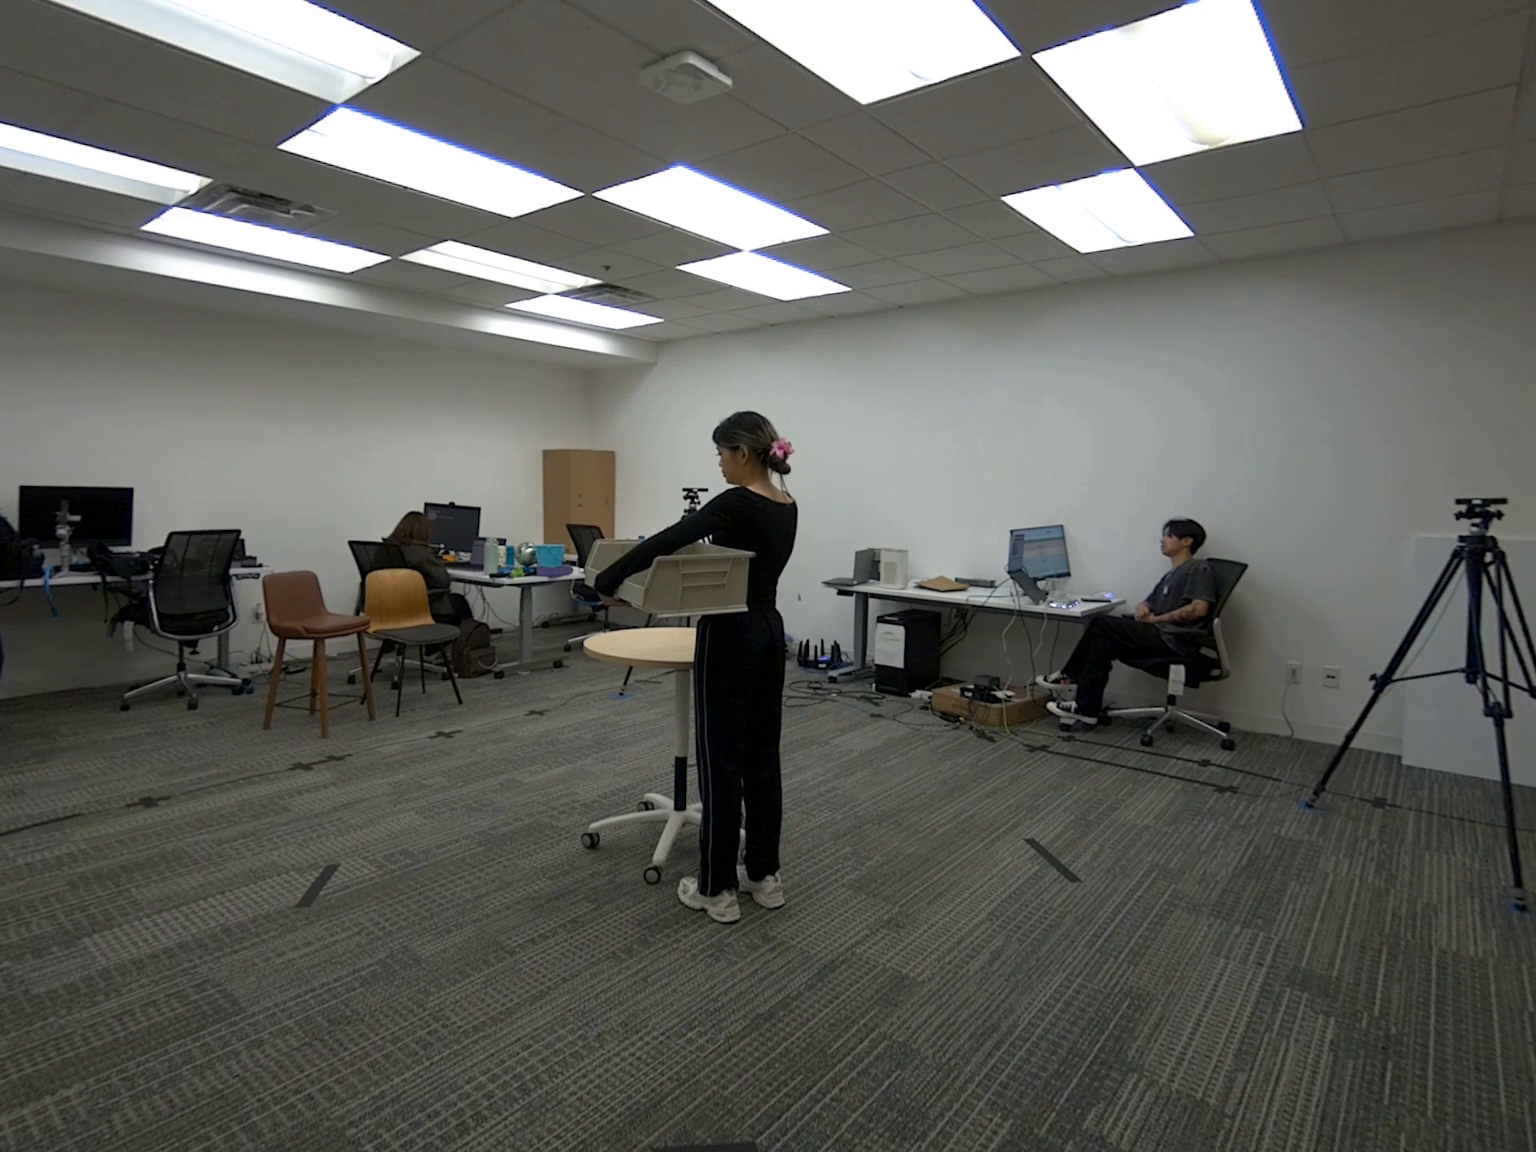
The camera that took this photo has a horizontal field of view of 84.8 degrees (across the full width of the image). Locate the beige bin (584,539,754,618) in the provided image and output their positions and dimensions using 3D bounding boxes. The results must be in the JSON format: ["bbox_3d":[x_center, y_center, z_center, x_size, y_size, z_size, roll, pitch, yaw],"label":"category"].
[{"bbox_3d":[-0.328,-0.003,2.658,0.367,0.188,0.437,-2,8,-34],"label":"beige bin"}]
